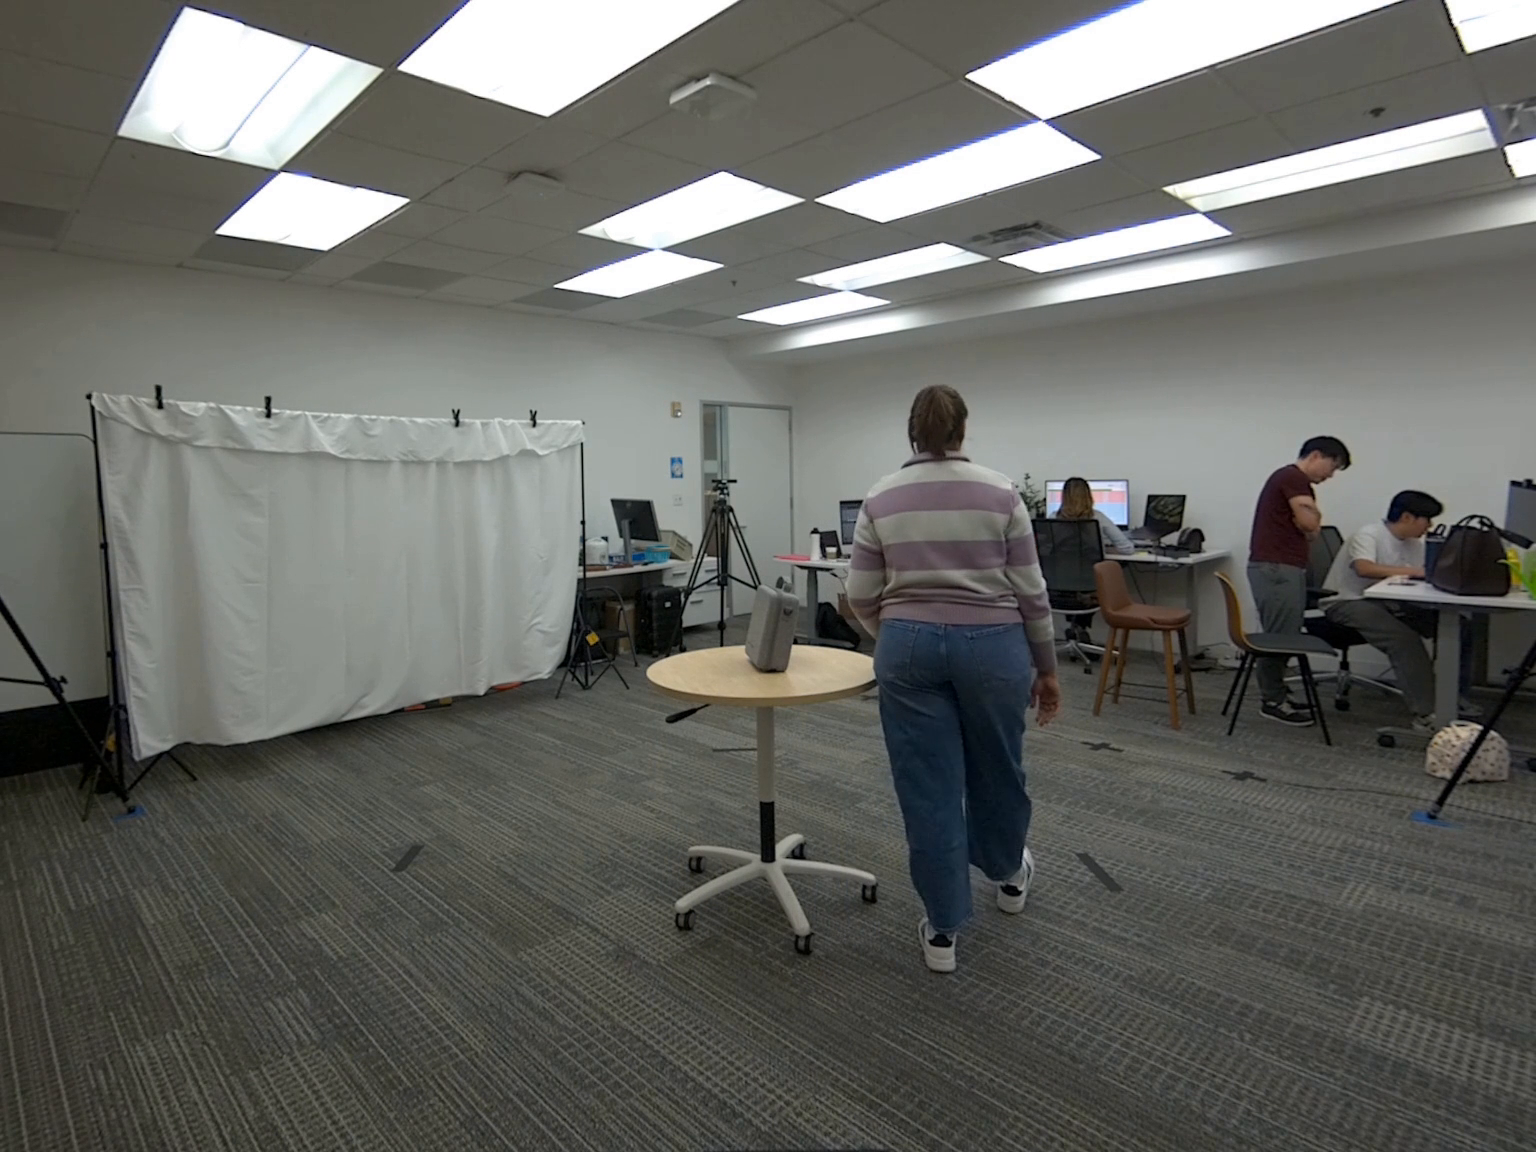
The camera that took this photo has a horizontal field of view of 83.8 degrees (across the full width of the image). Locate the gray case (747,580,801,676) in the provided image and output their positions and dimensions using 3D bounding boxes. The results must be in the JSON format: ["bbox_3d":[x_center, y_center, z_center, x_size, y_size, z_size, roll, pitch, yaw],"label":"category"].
[{"bbox_3d":[0.015,0.162,2.809,0.103,0.260,0.260,5,4,-10],"label":"gray case"}]
